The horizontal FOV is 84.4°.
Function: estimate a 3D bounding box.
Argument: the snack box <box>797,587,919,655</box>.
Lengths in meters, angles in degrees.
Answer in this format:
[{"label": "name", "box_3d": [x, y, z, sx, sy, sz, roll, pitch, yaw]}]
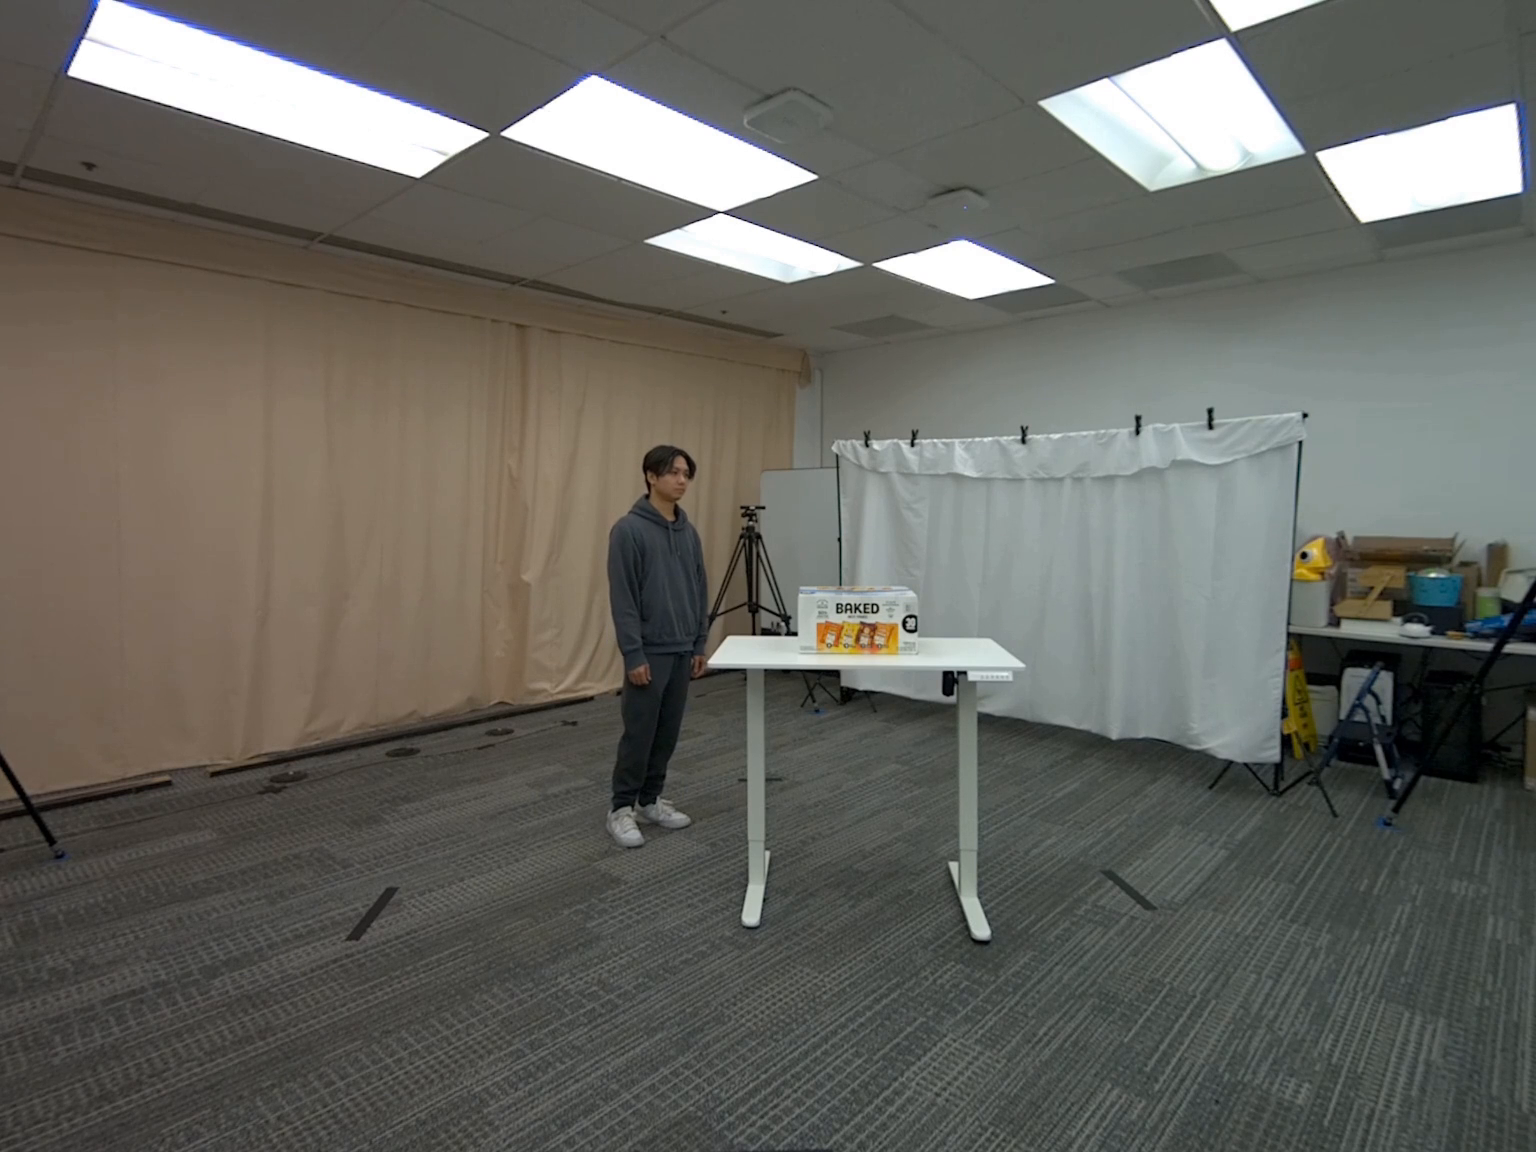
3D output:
[{"label": "snack box", "box_3d": [0.321, 0.155, 3.037, 0.408, 0.205, 0.339, 0, 3, 5]}]
